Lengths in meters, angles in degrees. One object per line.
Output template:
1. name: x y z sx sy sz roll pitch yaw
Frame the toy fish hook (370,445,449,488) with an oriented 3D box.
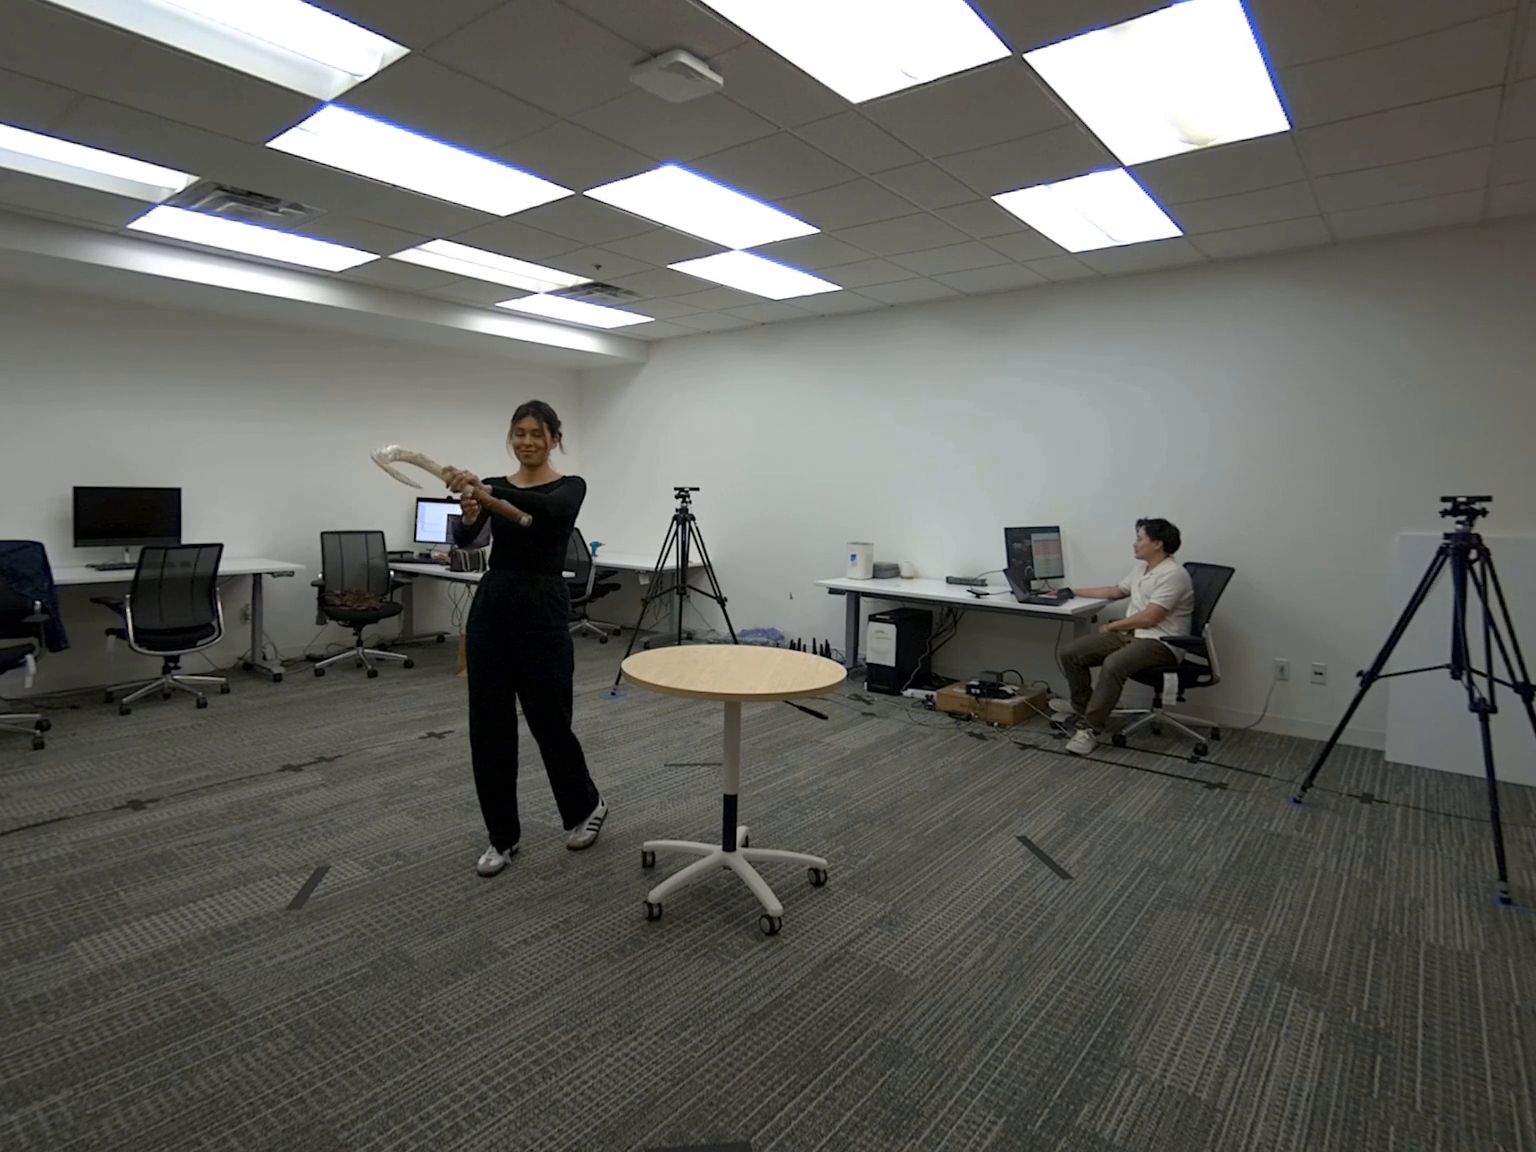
1. toy fish hook: -0.974 -0.261 2.592 0.504 0.048 0.227 27 25 -3
